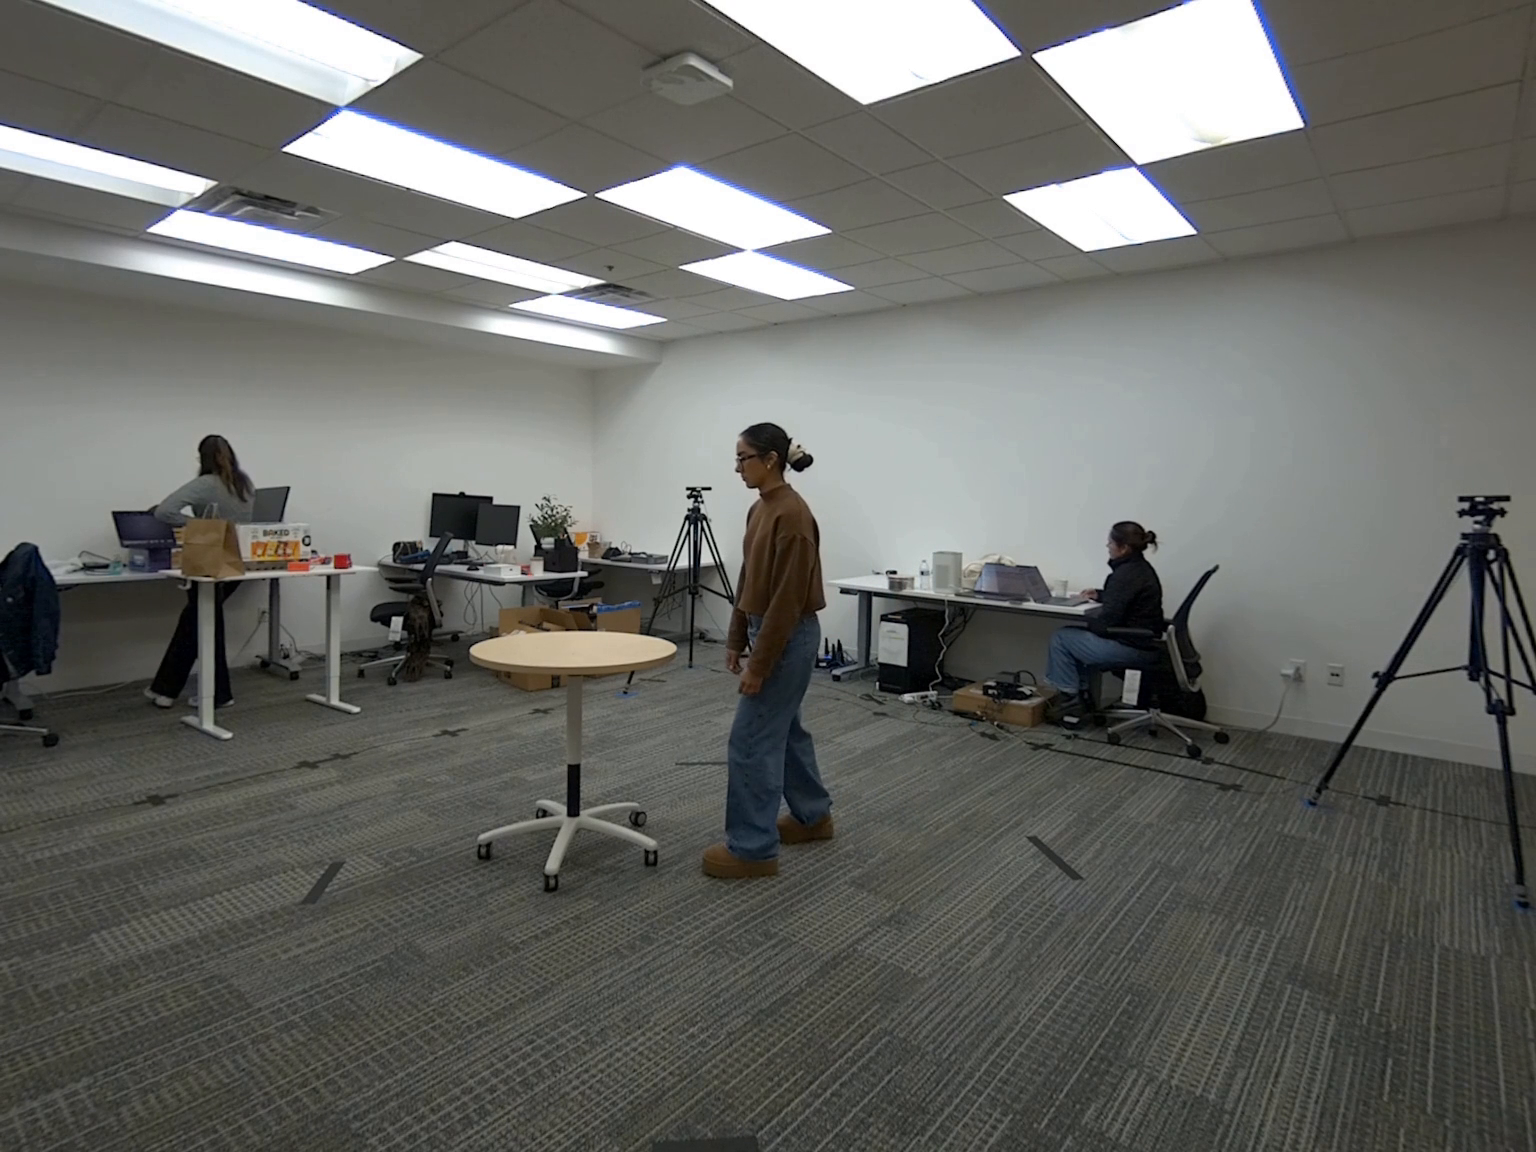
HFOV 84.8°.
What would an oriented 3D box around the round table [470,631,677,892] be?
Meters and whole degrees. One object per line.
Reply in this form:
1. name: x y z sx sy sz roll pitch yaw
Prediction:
1. round table: -0.755 0.652 3.242 0.784 0.784 0.789 1 4 -2
